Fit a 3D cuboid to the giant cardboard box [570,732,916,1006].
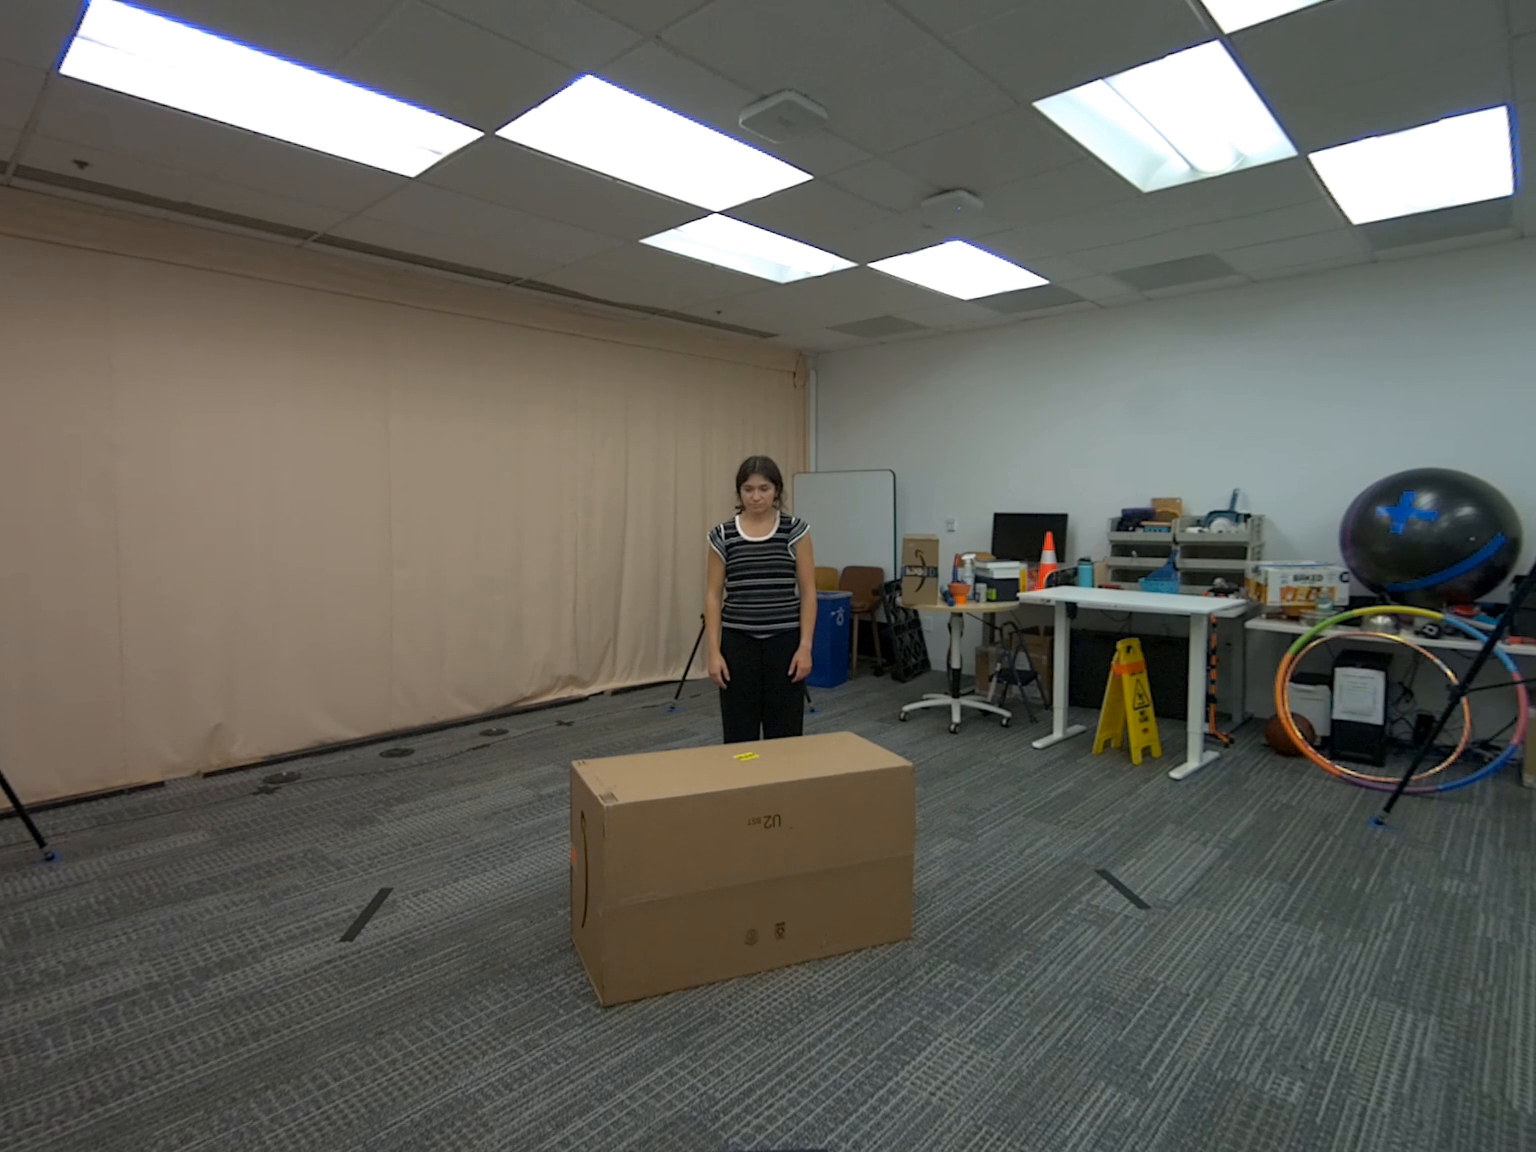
[{"bbox_3d":[-0.082,0.881,2.696,1.003,0.576,0.437,-2,4,-22],"label":"giant cardboard box"}]
